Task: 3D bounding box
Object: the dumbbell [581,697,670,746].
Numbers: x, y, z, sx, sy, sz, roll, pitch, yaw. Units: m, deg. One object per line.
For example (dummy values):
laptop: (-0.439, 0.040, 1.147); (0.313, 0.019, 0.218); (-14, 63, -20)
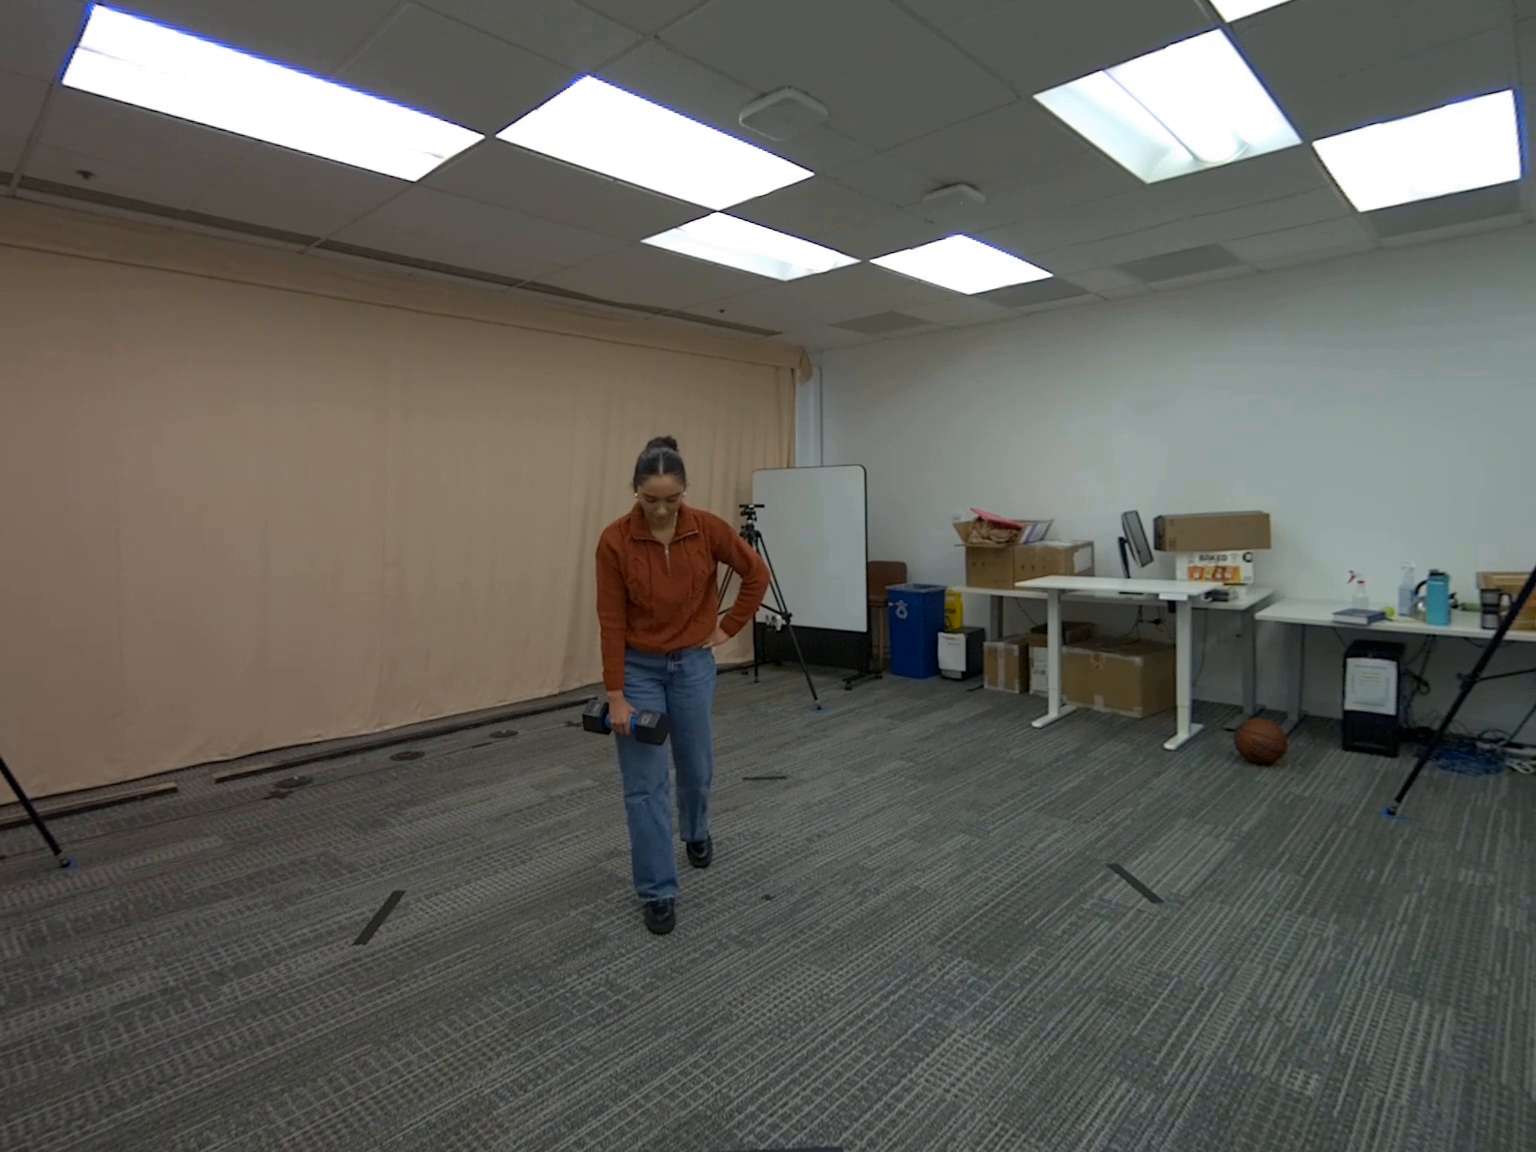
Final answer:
dumbbell: (-0.472, 0.486, 2.800); (0.302, 0.122, 0.106); (5, 15, 28)
